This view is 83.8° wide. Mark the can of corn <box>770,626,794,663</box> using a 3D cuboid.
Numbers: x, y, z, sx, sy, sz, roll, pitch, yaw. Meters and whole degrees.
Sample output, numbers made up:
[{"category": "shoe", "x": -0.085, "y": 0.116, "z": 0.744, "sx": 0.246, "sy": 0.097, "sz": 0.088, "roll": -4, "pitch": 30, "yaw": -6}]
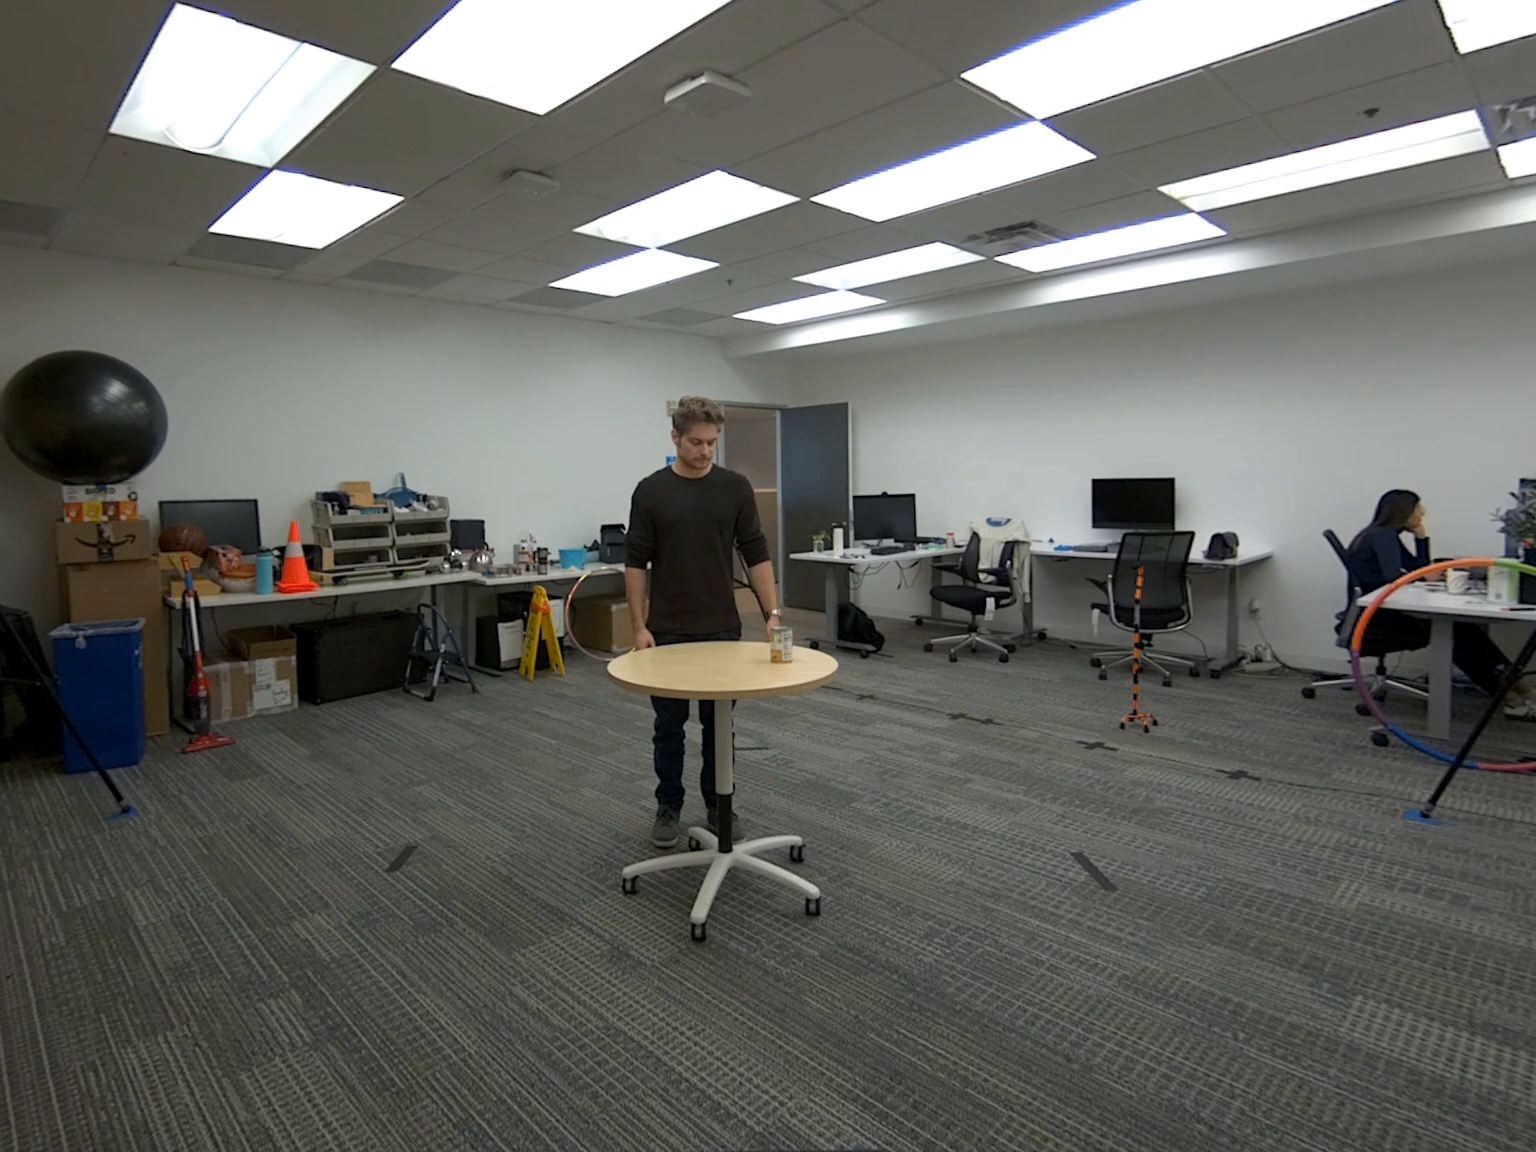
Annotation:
[{"category": "can of corn", "x": 0.048, "y": 0.231, "z": 2.861, "sx": 0.074, "sy": 0.110, "sz": 0.075, "roll": -1, "pitch": 6, "yaw": -2}]
